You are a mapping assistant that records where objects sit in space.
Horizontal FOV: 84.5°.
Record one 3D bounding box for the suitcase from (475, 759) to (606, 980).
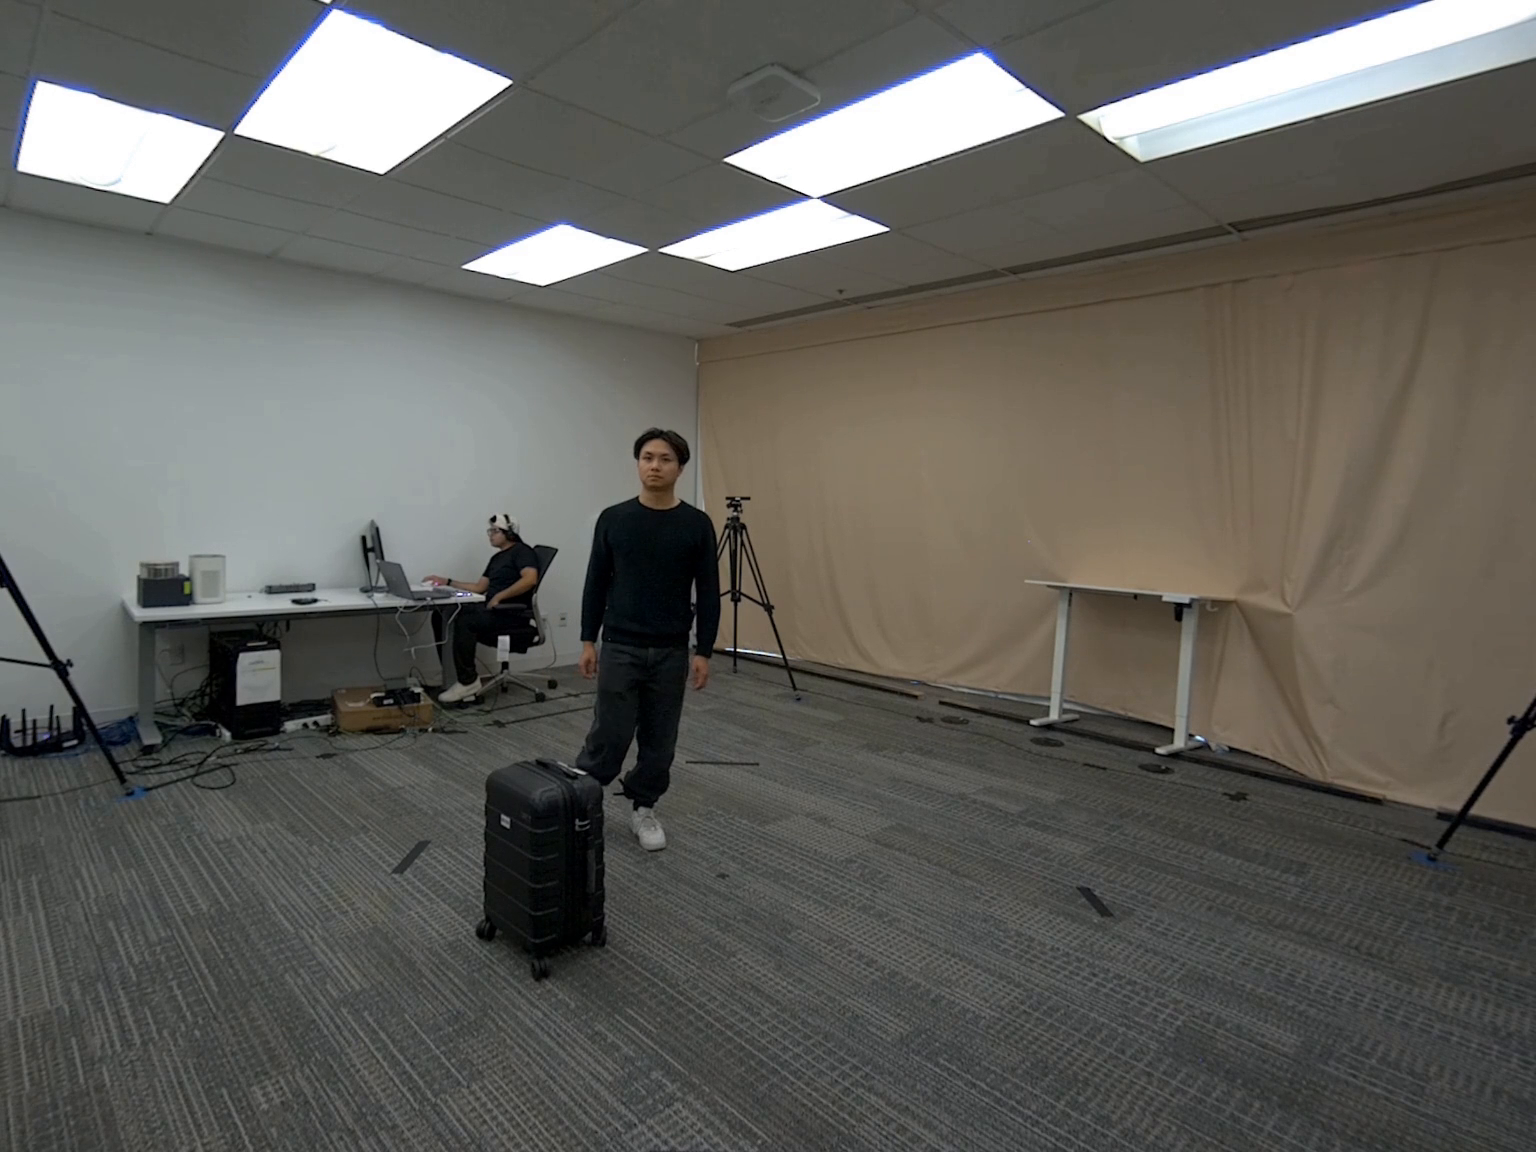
[{"bbox_3d":[-0.708,0.869,2.600,0.242,0.548,0.385,-2,4,-45],"label":"suitcase"}]
